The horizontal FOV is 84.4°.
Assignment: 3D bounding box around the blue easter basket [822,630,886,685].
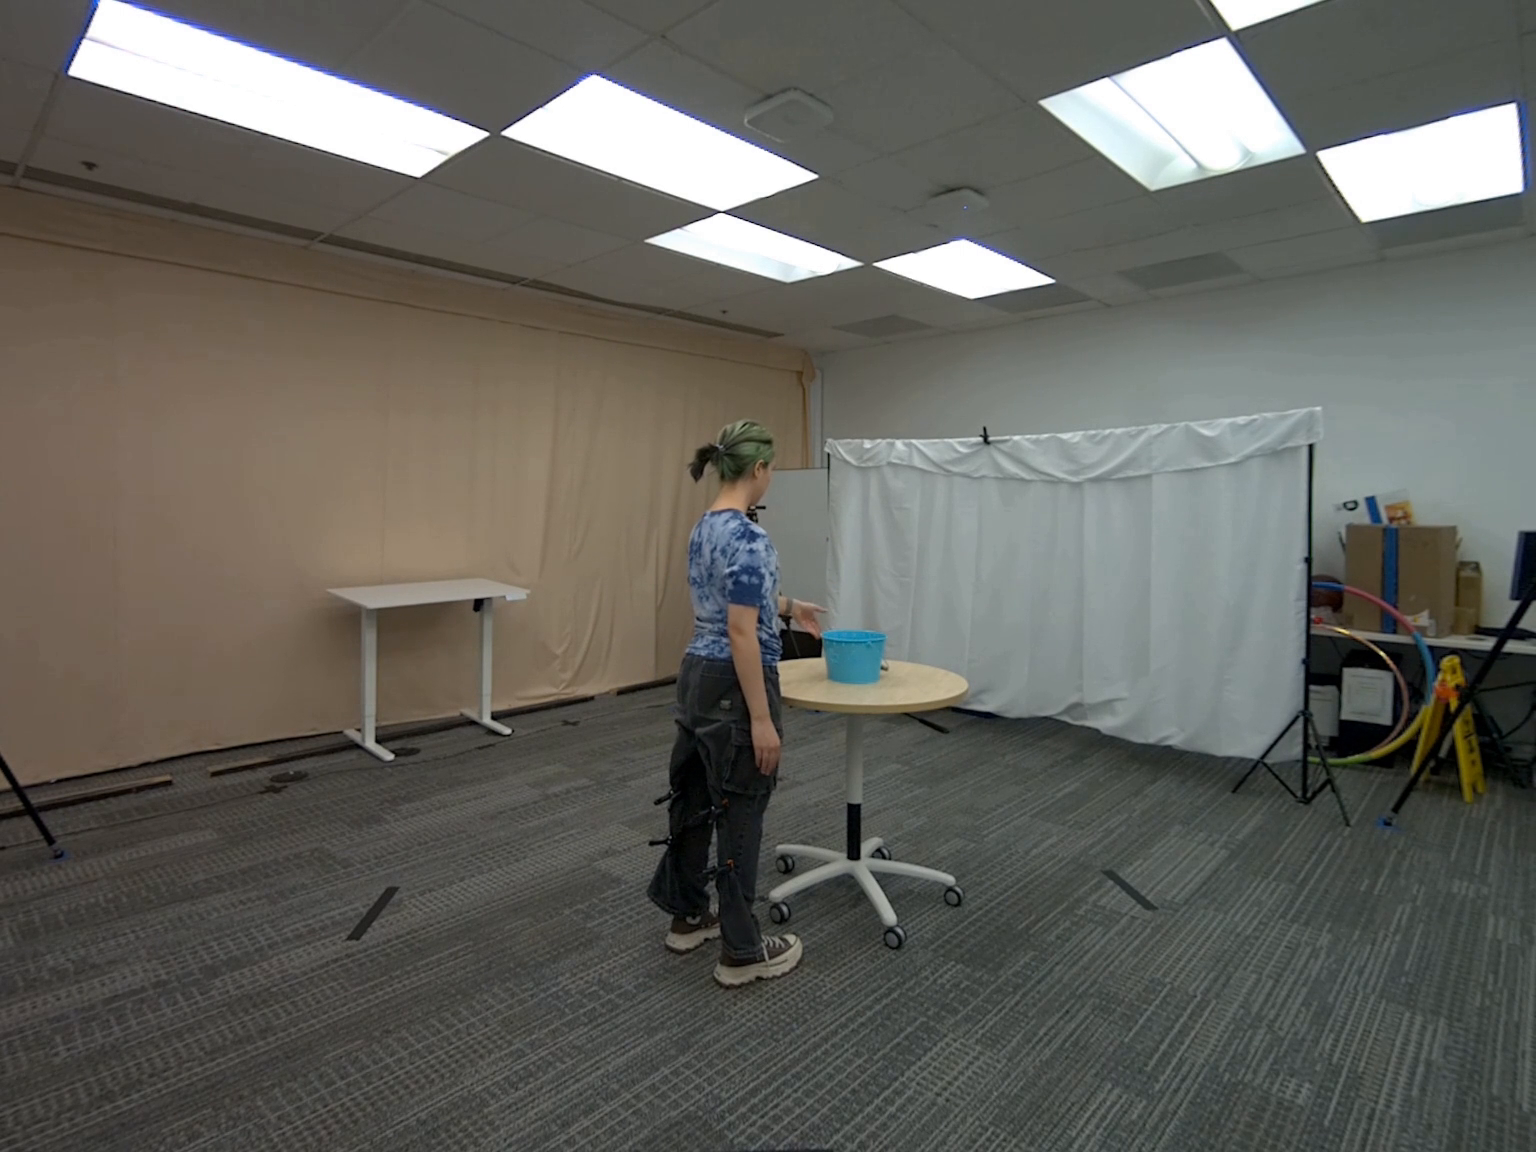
[{"bbox_3d":[0.314,0.287,2.944,0.243,0.155,0.244,-1,5,-2],"label":"blue easter basket"}]
